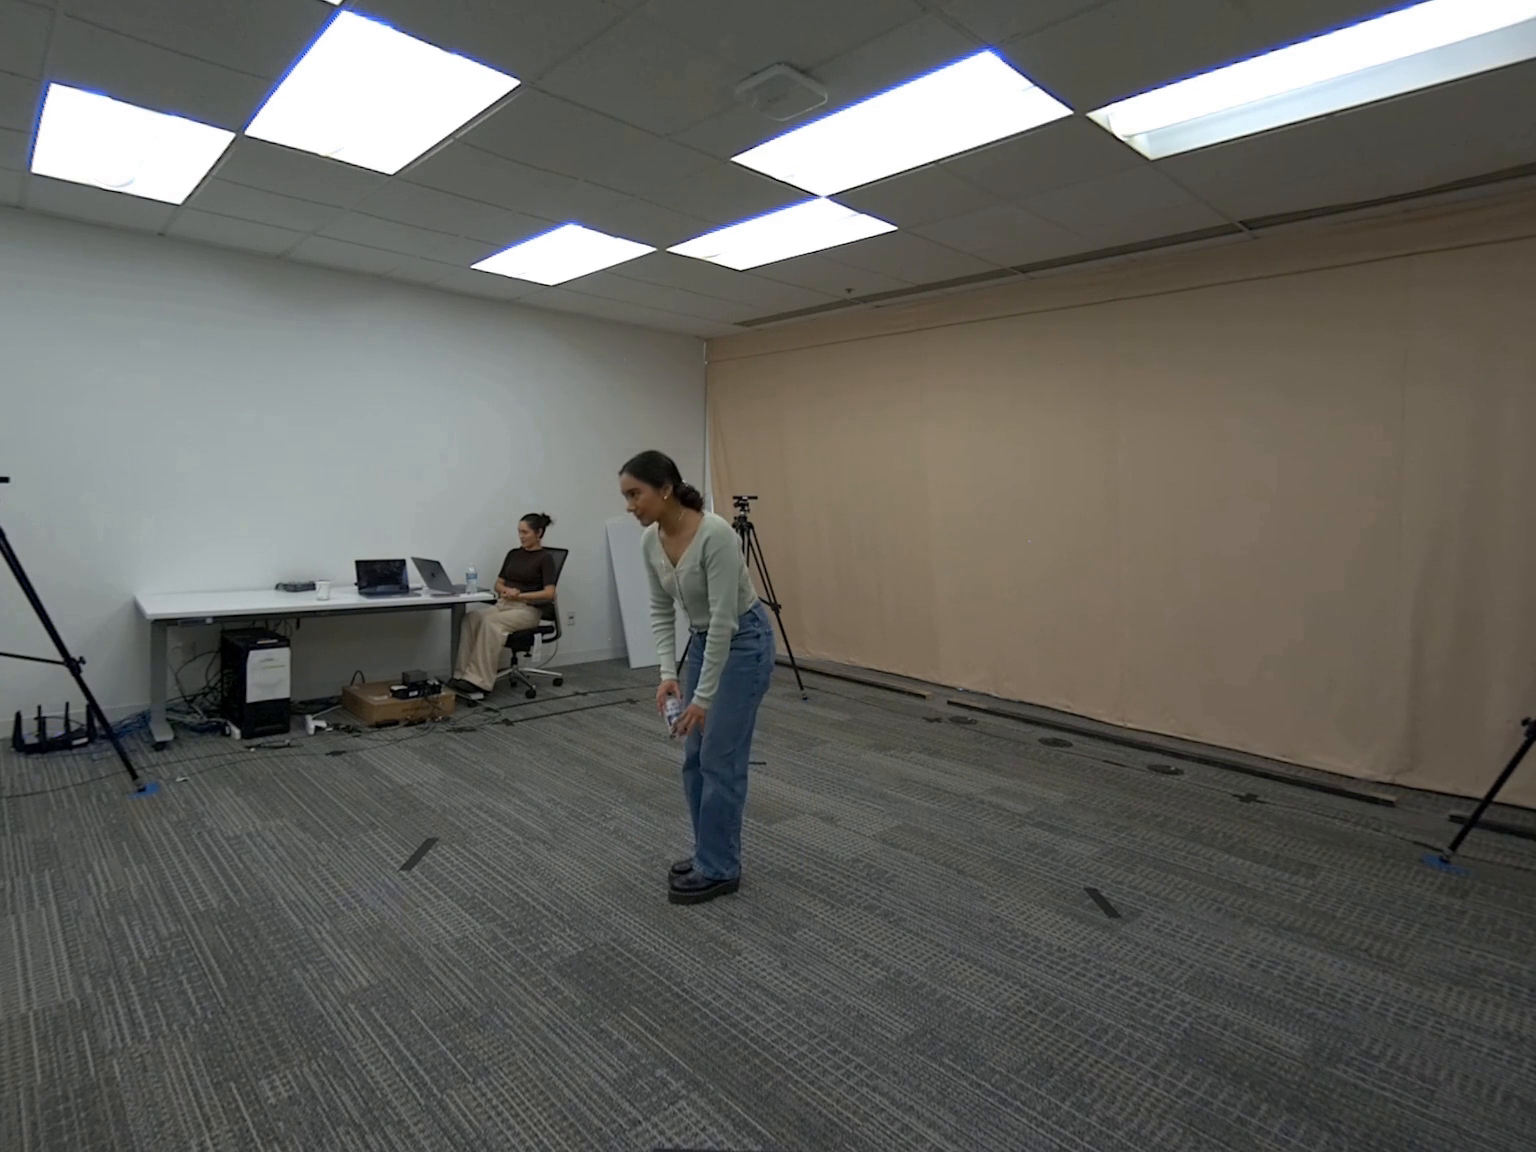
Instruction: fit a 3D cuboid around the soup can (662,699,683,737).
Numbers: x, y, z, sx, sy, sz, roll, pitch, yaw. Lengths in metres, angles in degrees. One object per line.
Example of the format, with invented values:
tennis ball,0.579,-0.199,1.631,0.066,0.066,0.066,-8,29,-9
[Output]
soup can,-0.320,0.516,2.853,0.067,0.121,0.067,-5,5,-1
